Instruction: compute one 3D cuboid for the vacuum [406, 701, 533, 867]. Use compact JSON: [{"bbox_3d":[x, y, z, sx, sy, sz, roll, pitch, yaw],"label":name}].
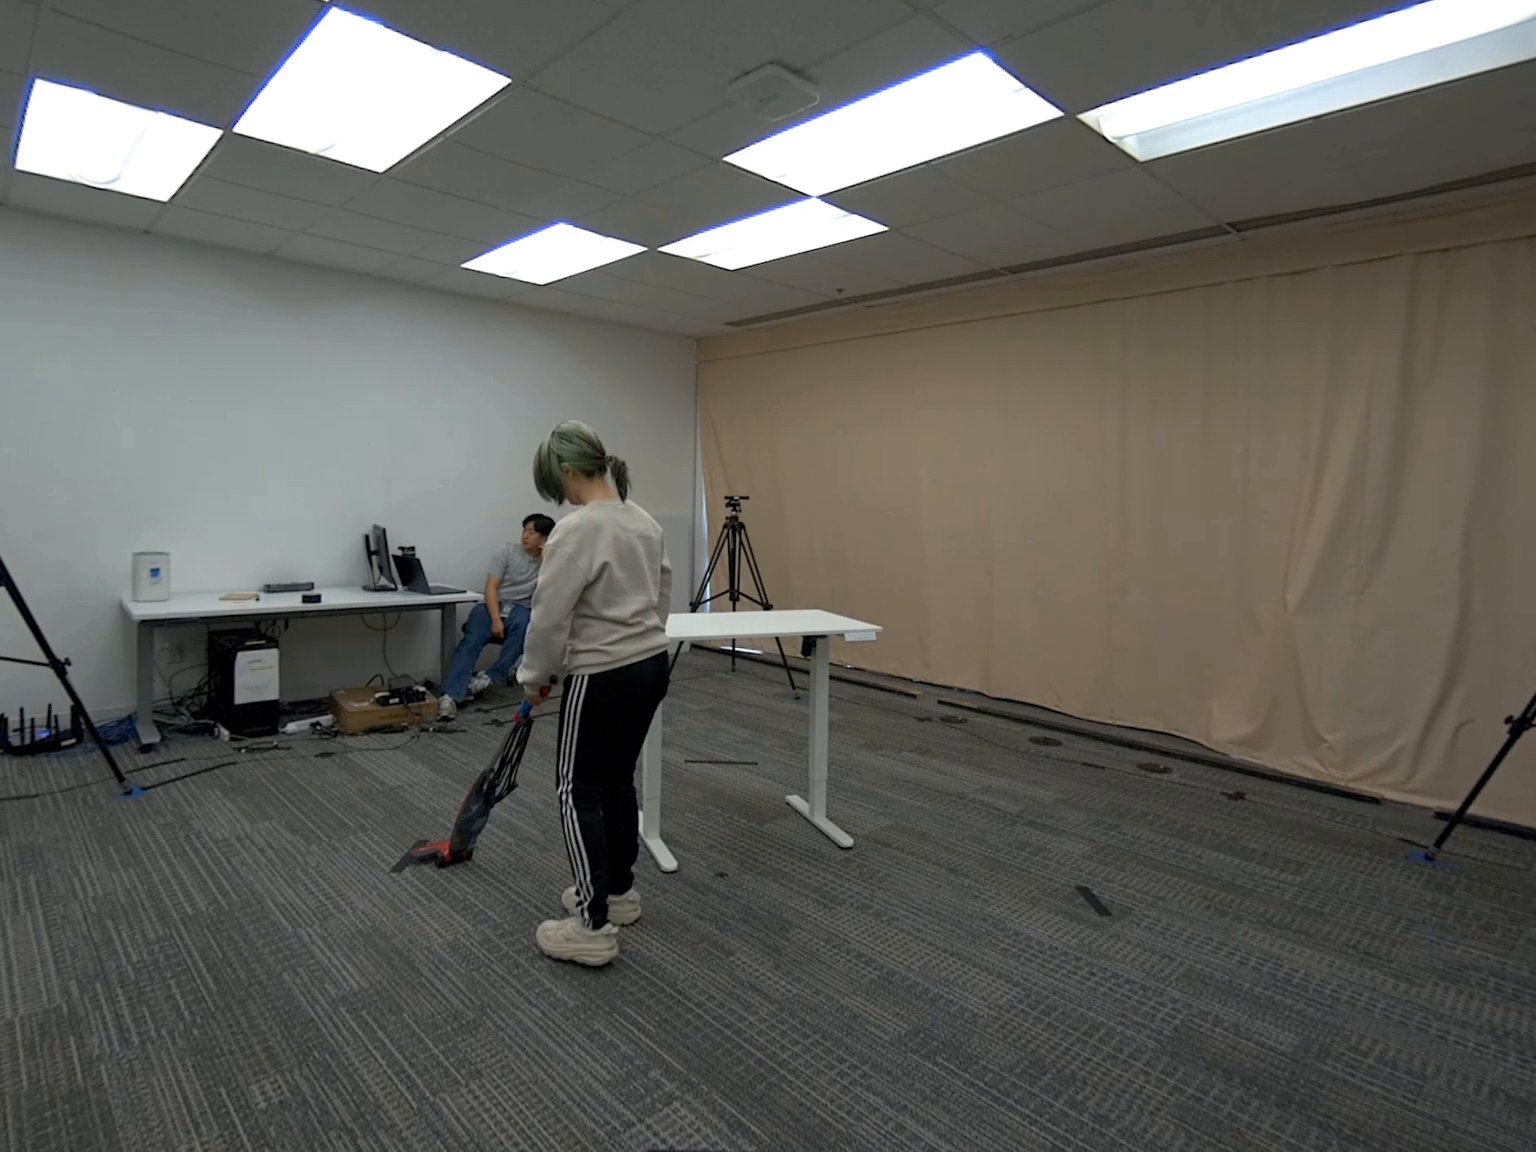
[{"bbox_3d":[-0.965,0.717,2.907,0.248,0.147,1.045,-11,-34,-48],"label":"vacuum"}]
